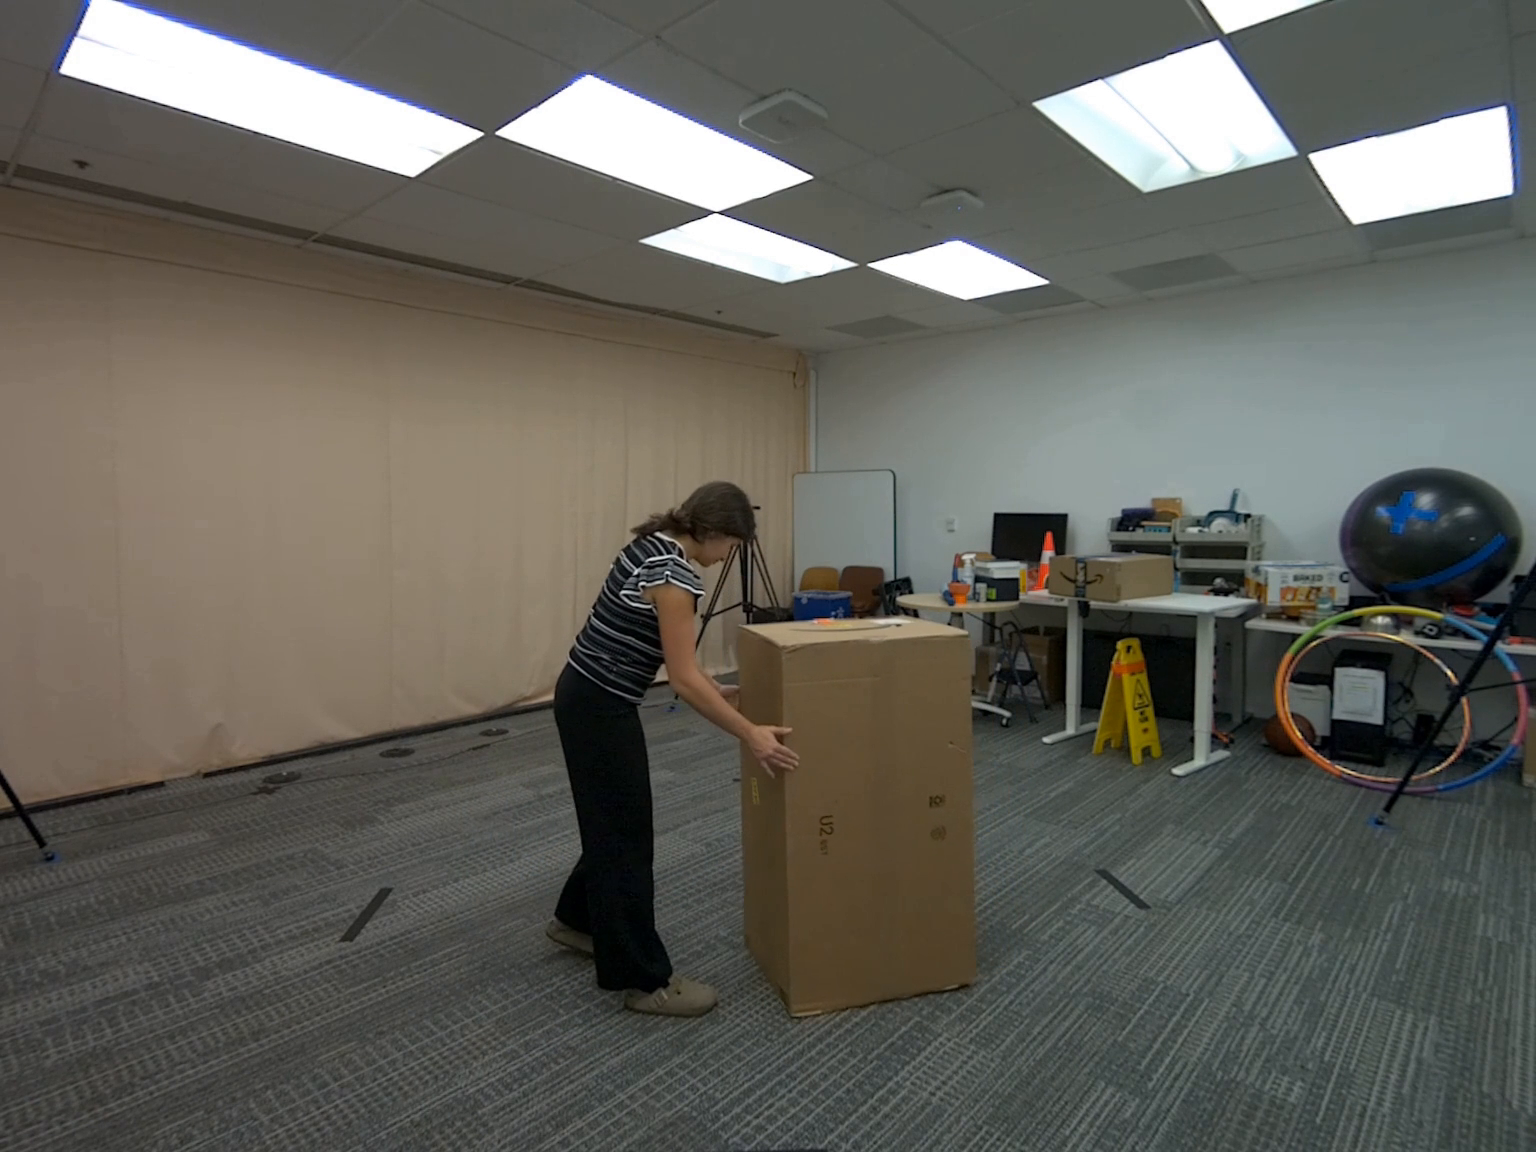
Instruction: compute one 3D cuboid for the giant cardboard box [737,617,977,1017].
[{"bbox_3d":[0.256,0.667,2.538,0.568,1.023,0.434,-2,3,-17],"label":"giant cardboard box"}]
